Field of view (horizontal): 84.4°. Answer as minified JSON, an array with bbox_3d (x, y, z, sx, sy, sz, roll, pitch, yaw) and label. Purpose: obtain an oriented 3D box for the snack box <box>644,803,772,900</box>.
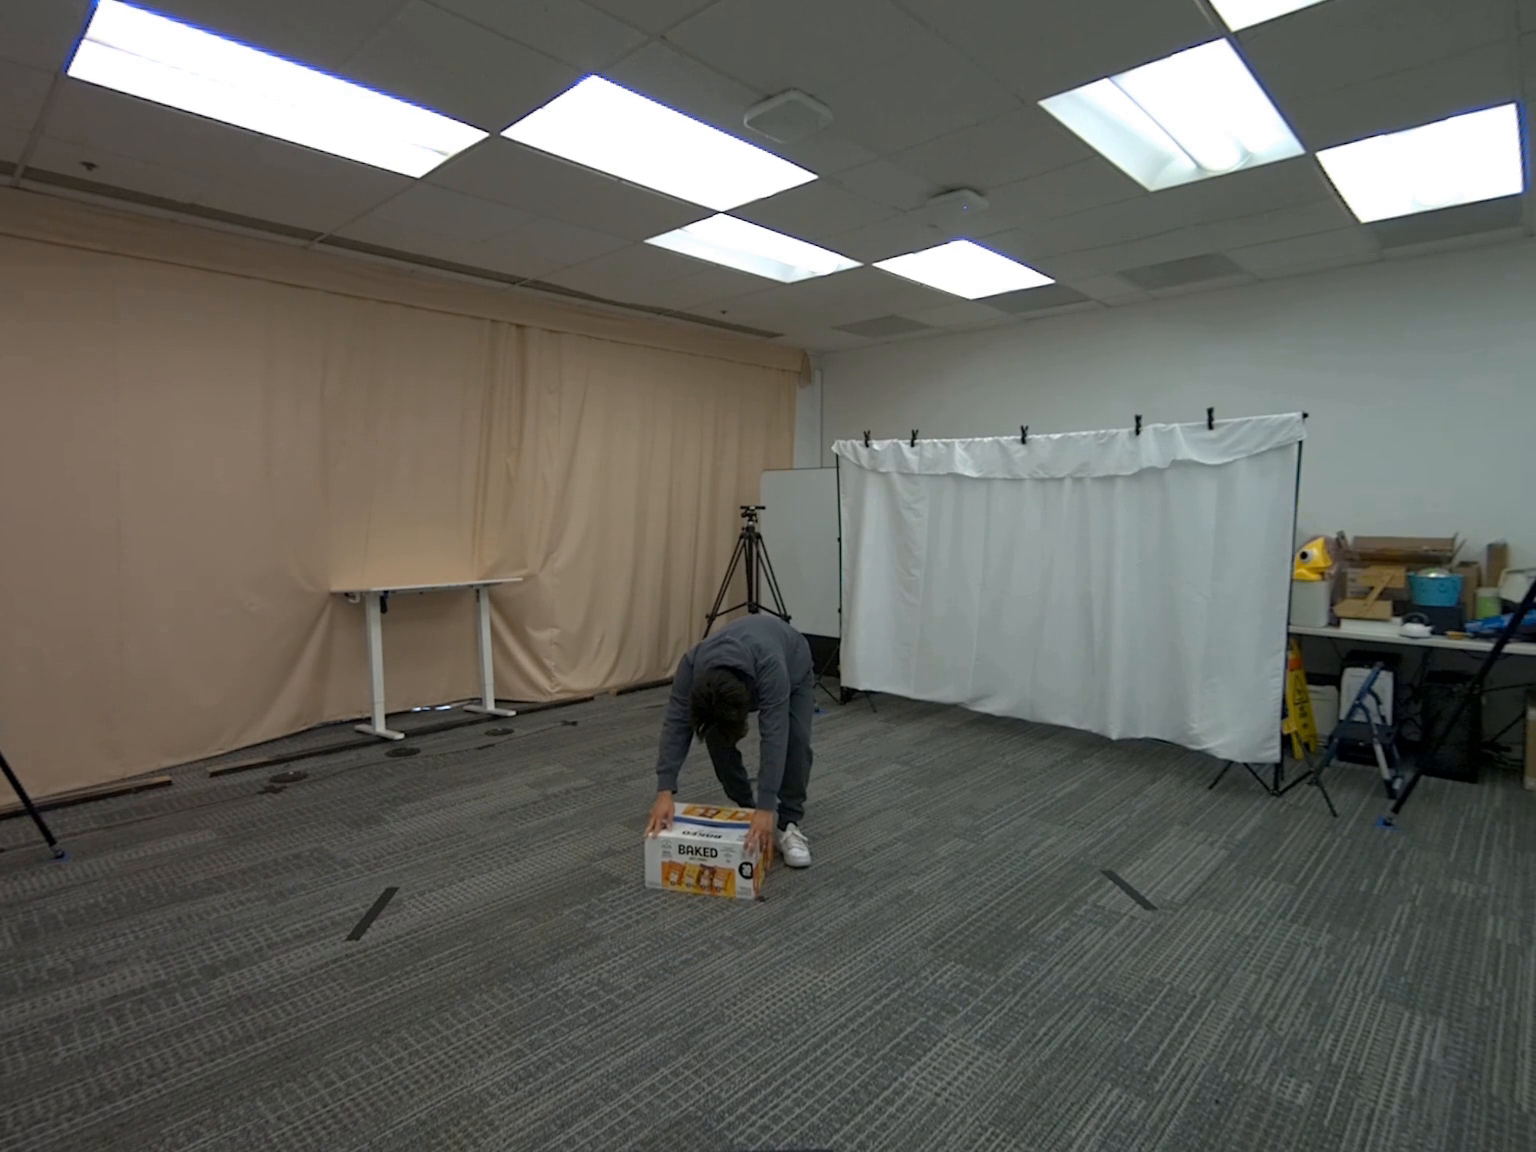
[{"bbox_3d":[-0.212,1.030,3.177,0.411,0.205,0.336,0,4,14],"label":"snack box"}]
